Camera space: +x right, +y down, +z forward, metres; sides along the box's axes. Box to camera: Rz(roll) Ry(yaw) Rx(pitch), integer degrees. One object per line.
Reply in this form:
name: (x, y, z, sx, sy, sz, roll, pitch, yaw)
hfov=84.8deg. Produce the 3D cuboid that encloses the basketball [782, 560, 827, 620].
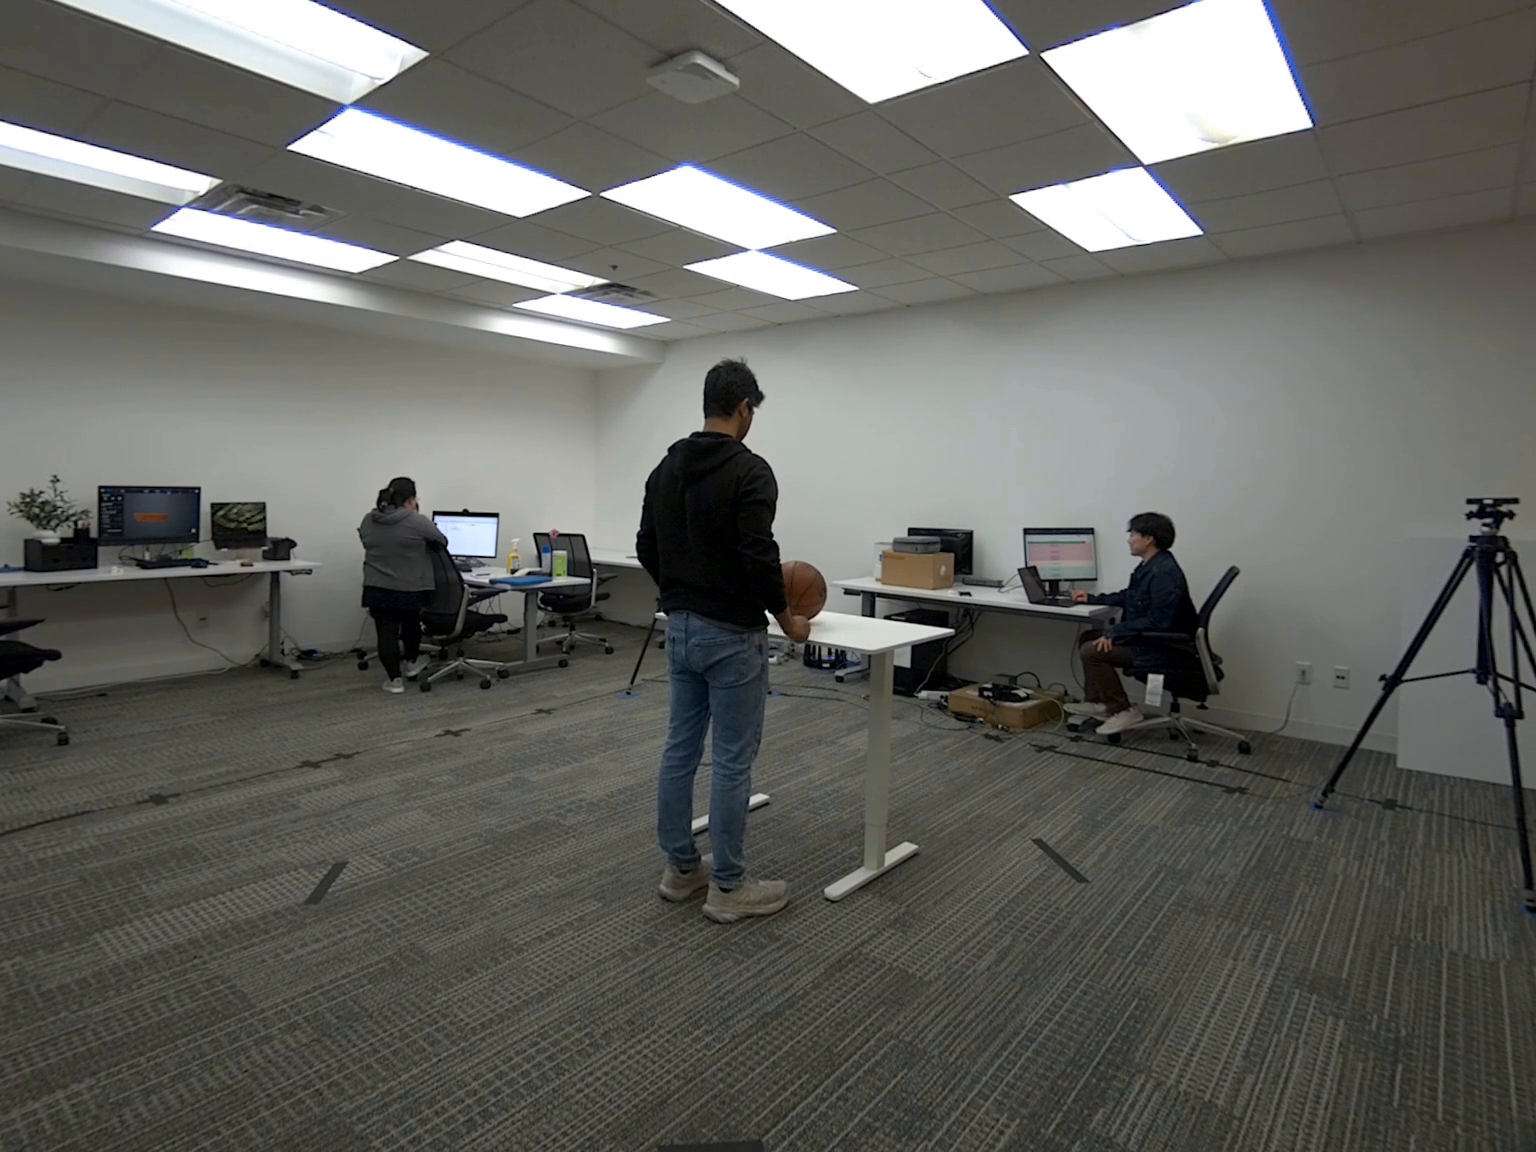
basketball: (0.105, 0.060, 3.251, 0.235, 0.235, 0.237, 1, 4, -2)
